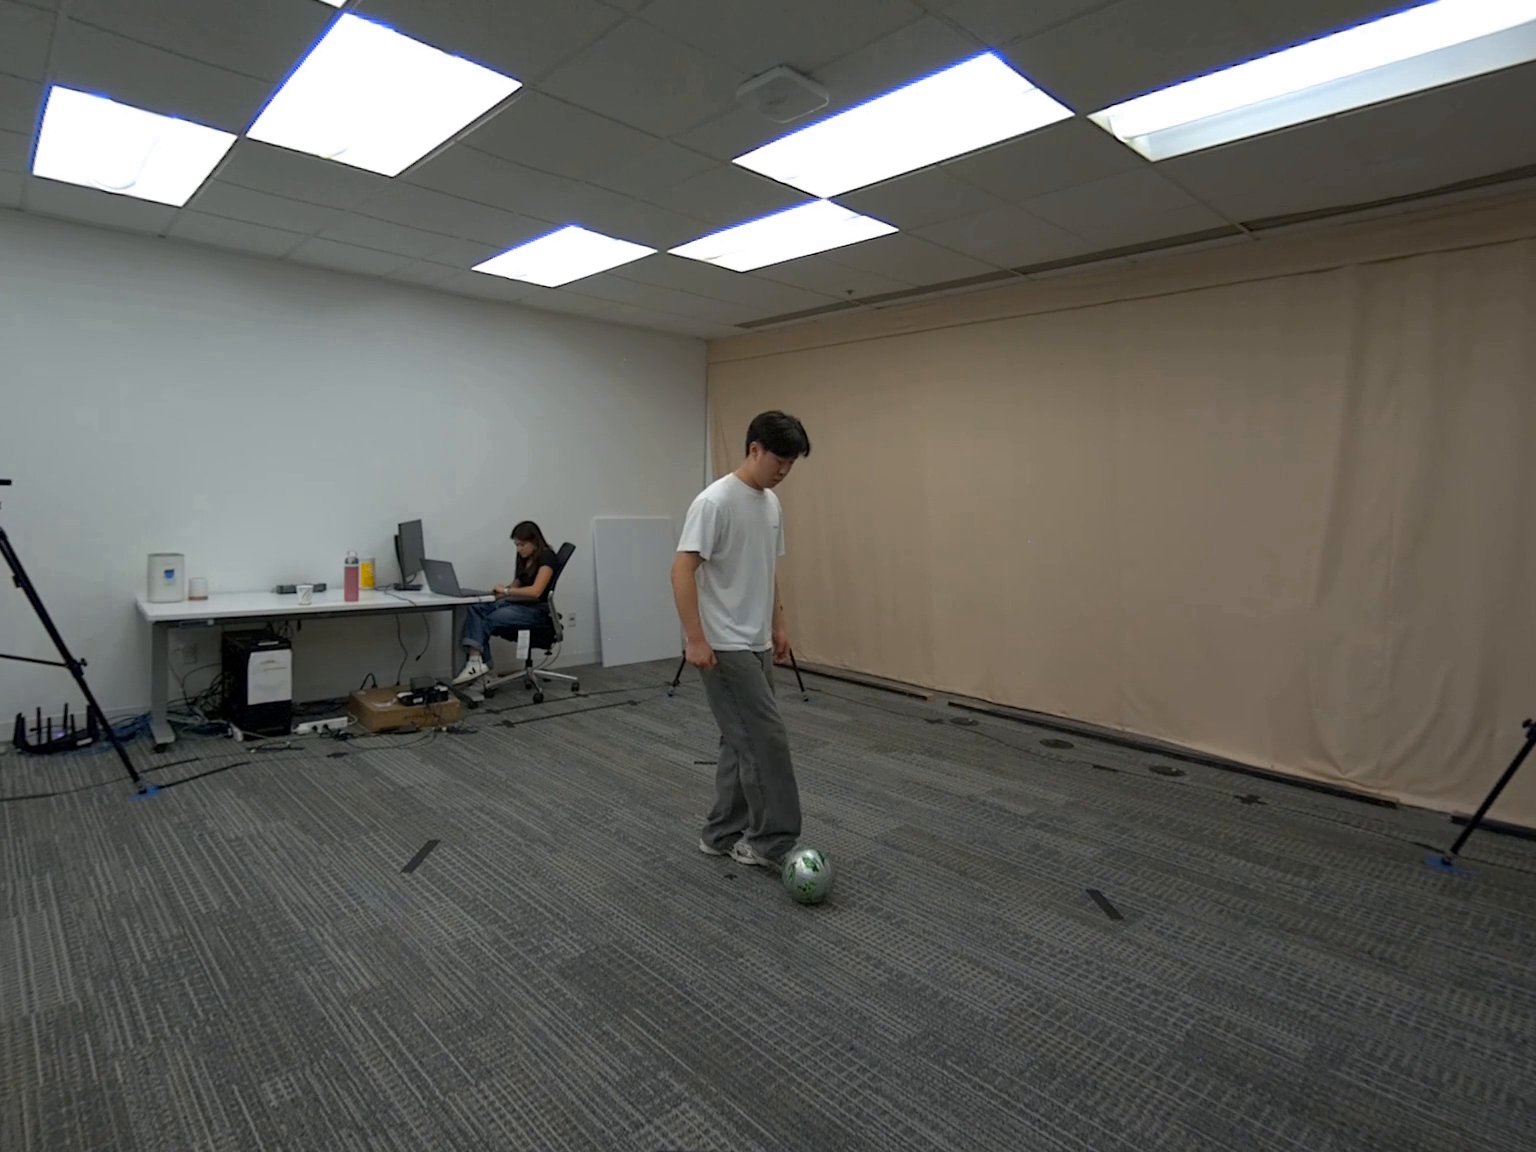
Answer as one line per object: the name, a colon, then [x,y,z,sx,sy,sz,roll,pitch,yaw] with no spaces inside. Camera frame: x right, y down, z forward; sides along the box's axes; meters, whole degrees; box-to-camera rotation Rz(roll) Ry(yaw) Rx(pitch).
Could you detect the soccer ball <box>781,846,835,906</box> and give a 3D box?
soccer ball: [0.129,1.038,2.913,0.187,0.187,0.188,1,4,-1]
